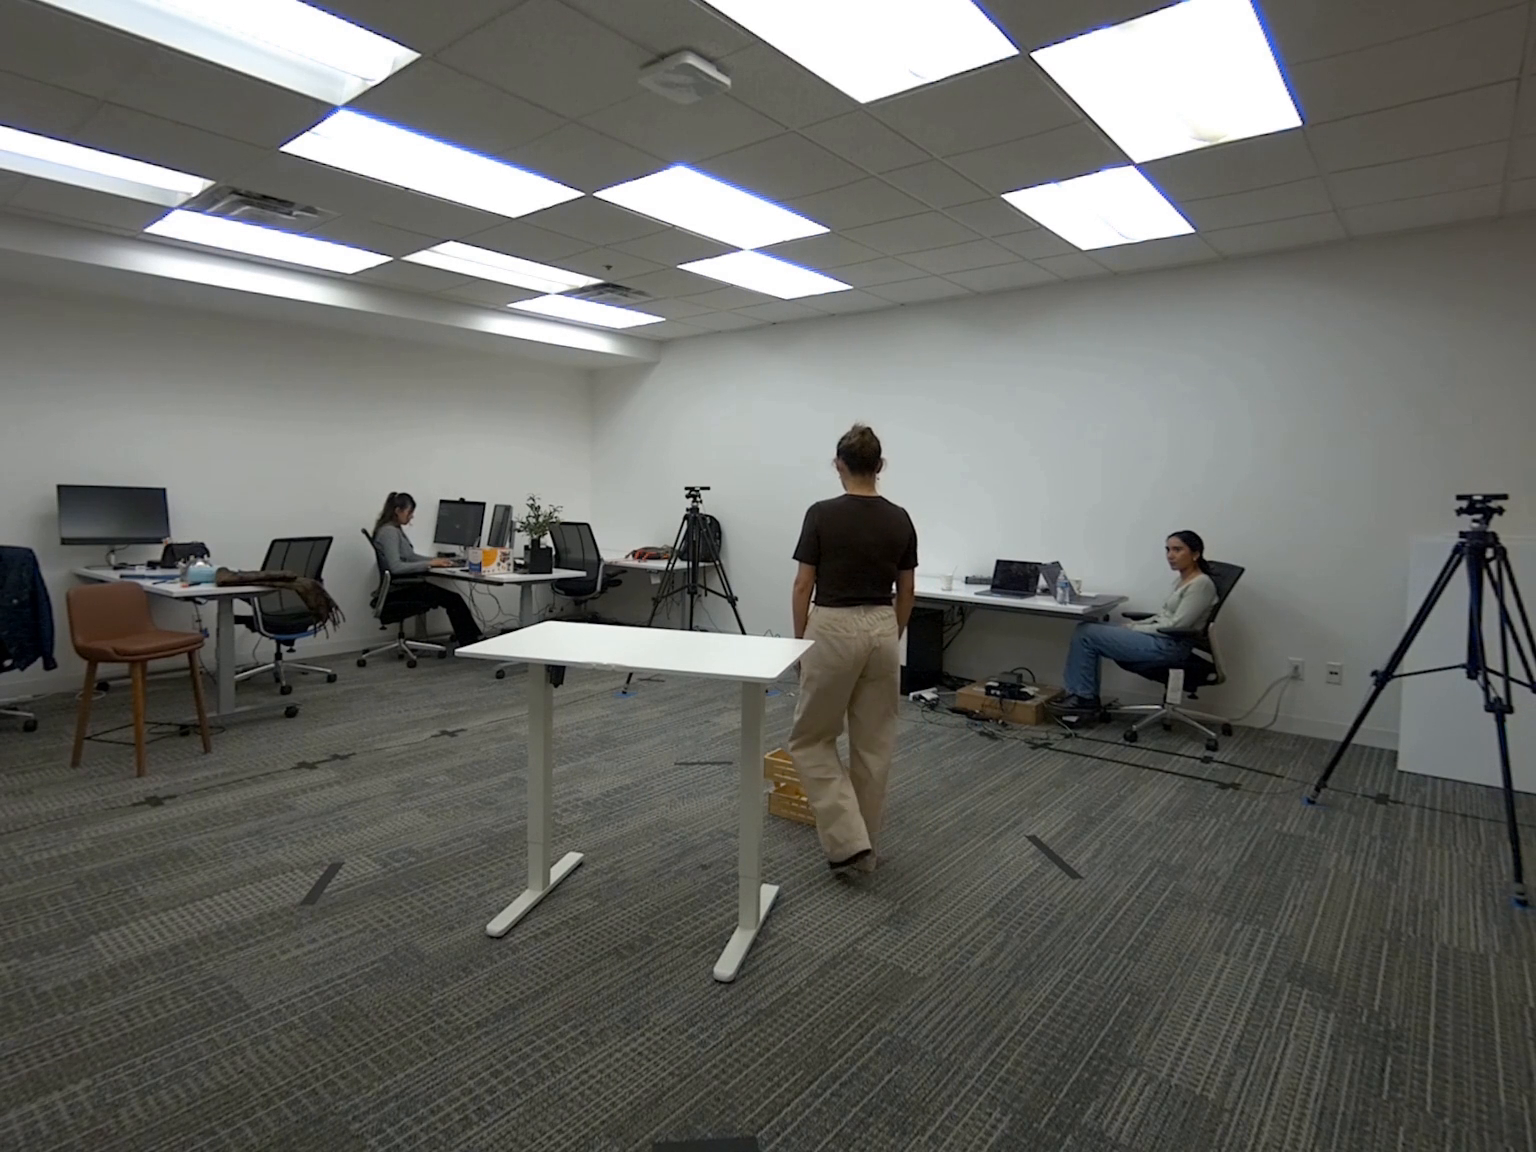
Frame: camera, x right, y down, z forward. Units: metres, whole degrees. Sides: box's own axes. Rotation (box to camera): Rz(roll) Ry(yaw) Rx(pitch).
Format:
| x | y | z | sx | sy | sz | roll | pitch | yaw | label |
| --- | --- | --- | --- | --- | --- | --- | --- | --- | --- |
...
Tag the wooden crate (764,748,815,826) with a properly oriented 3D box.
| x | y | z | sx | sy | sz | roll | pitch | yaw | label |
| --- | --- | --- | --- | --- | --- | --- | --- | --- | --- |
| 0.172 | 0.884 | 3.637 | 0.334 | 0.272 | 0.294 | 4 | 6 | 32 | wooden crate |
